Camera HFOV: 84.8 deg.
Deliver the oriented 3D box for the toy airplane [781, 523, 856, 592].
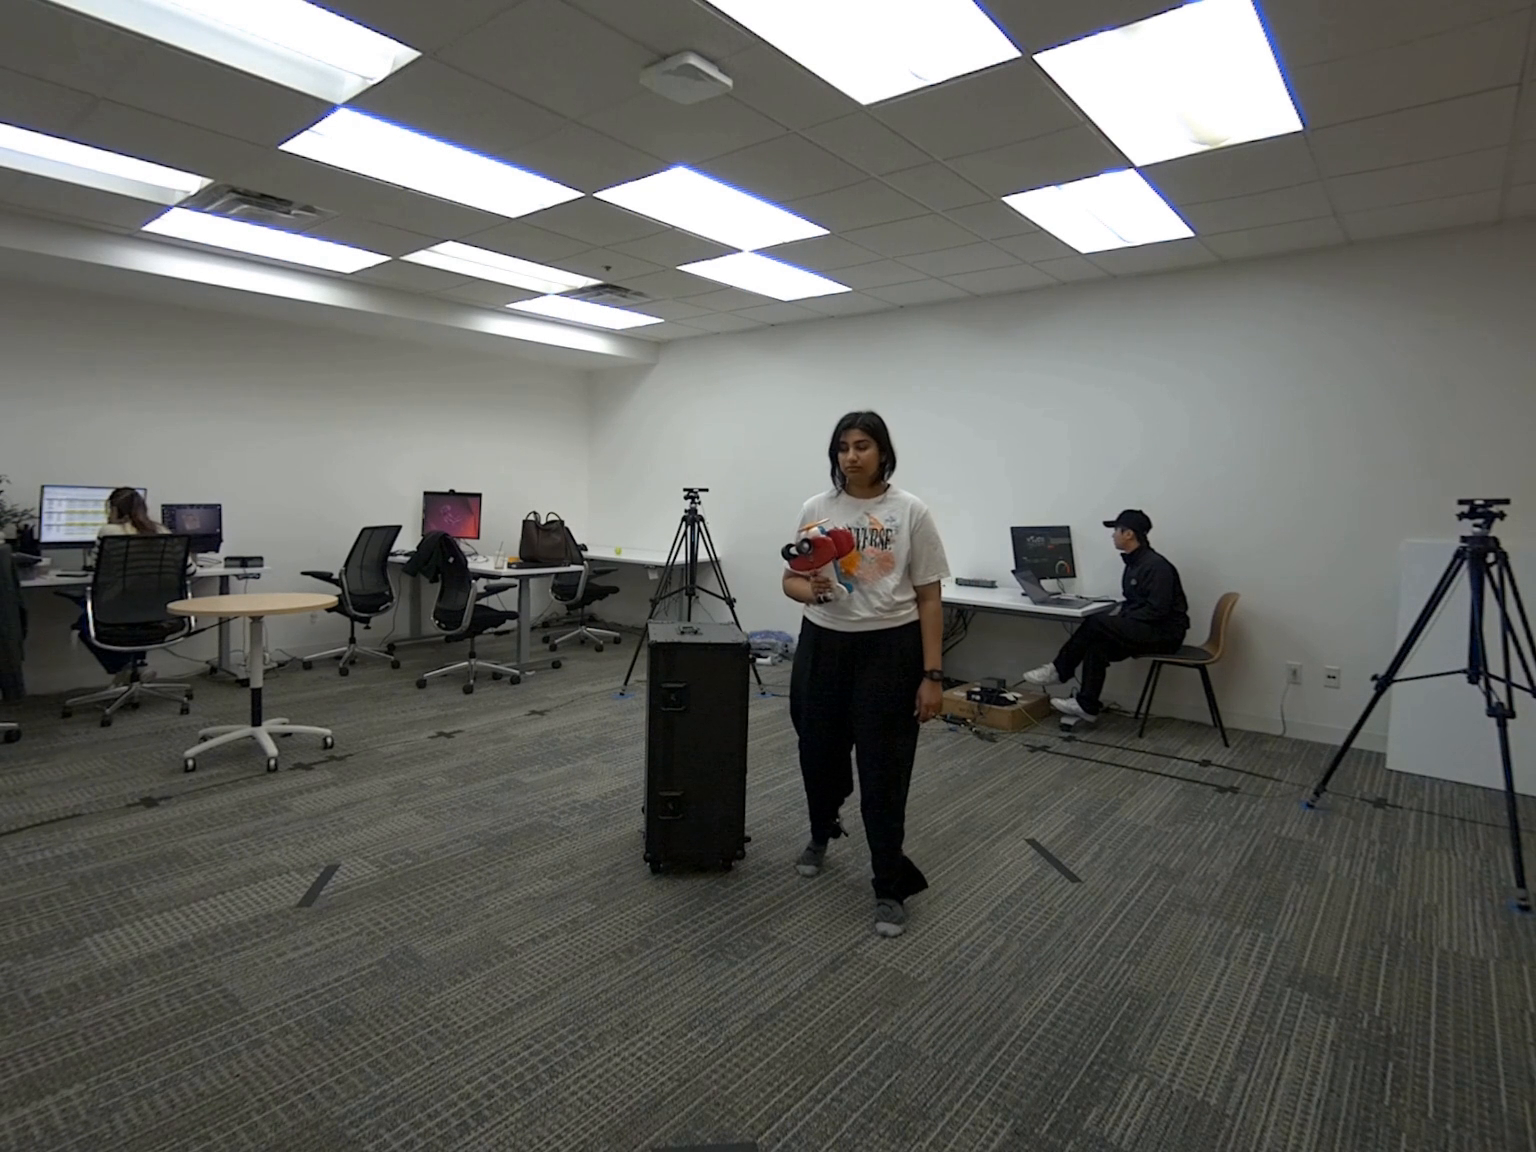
[{"bbox_3d":[0.148,-0.042,2.727,0.155,0.251,0.261,-37,35,-31],"label":"toy airplane"}]
